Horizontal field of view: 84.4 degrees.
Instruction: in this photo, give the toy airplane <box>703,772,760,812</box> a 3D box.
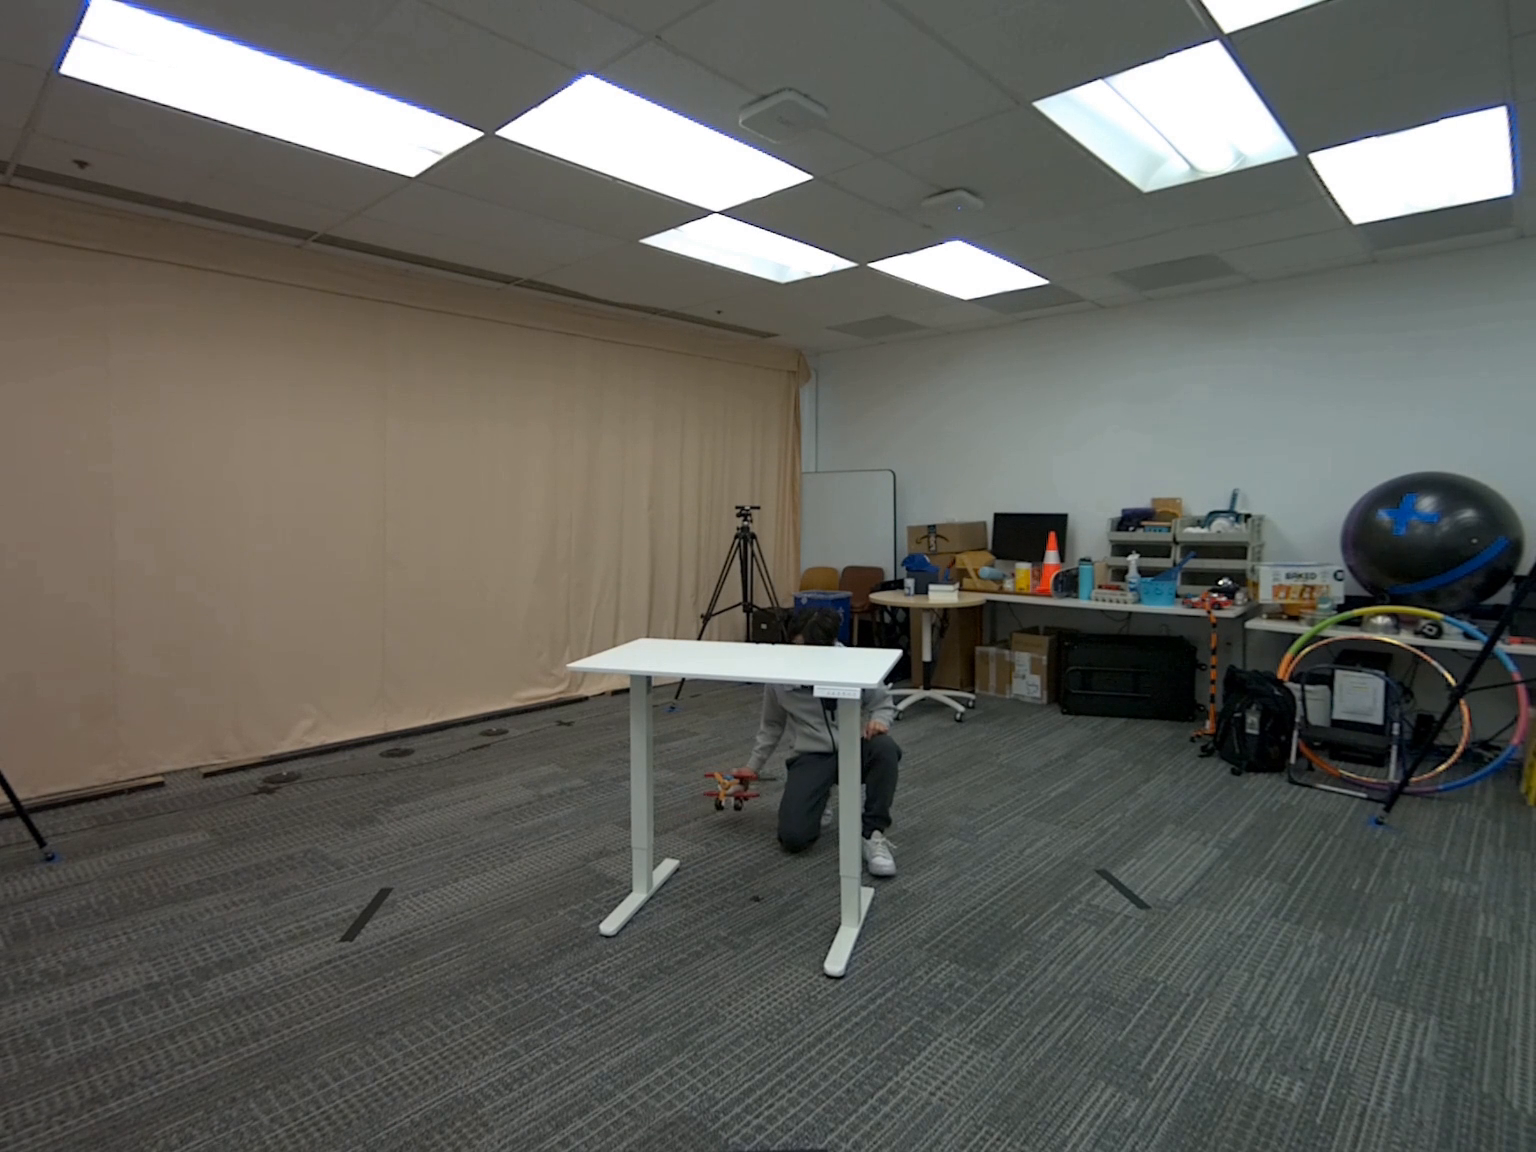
[{"bbox_3d":[-0.174,0.926,3.694,0.249,0.156,0.261,-1,0,-9],"label":"toy airplane"}]
